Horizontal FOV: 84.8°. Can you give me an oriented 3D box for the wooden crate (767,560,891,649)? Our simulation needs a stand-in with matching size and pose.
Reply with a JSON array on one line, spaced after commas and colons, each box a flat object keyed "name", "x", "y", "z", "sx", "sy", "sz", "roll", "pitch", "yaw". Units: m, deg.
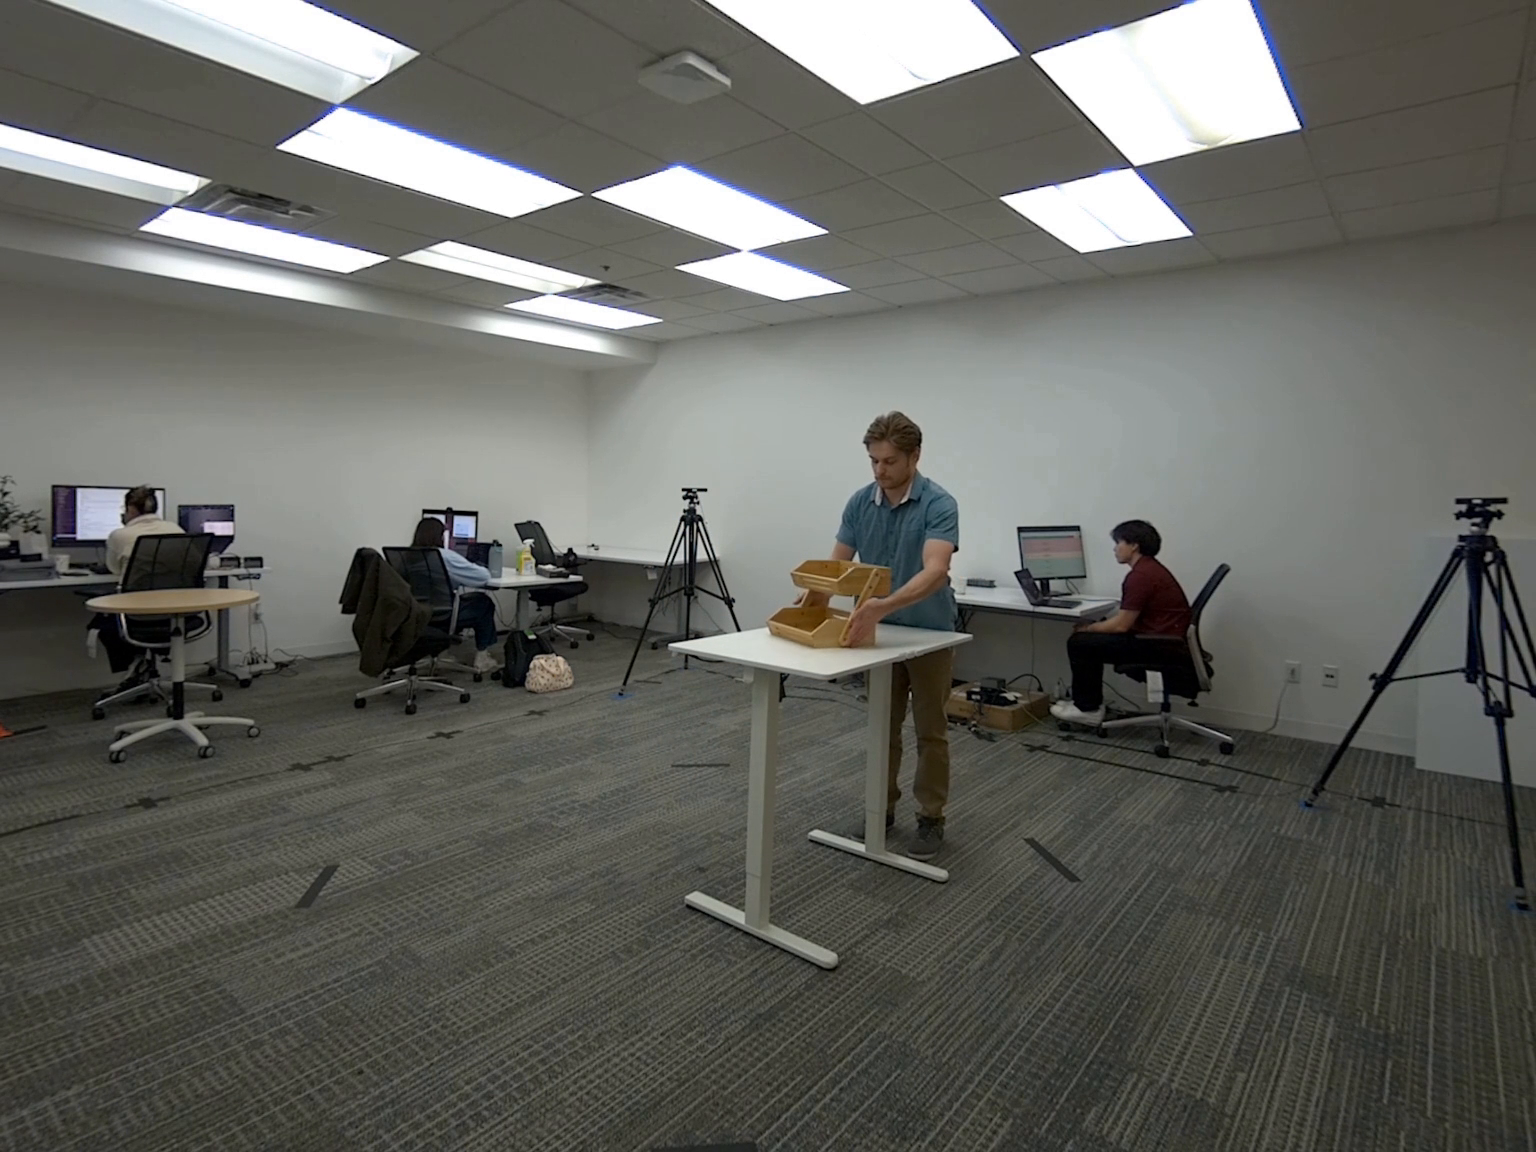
[{"name": "wooden crate", "x": 0.188, "y": 0.084, "z": 2.901, "sx": 0.294, "sy": 0.273, "sz": 0.334, "roll": 1, "pitch": 4, "yaw": -28}]
